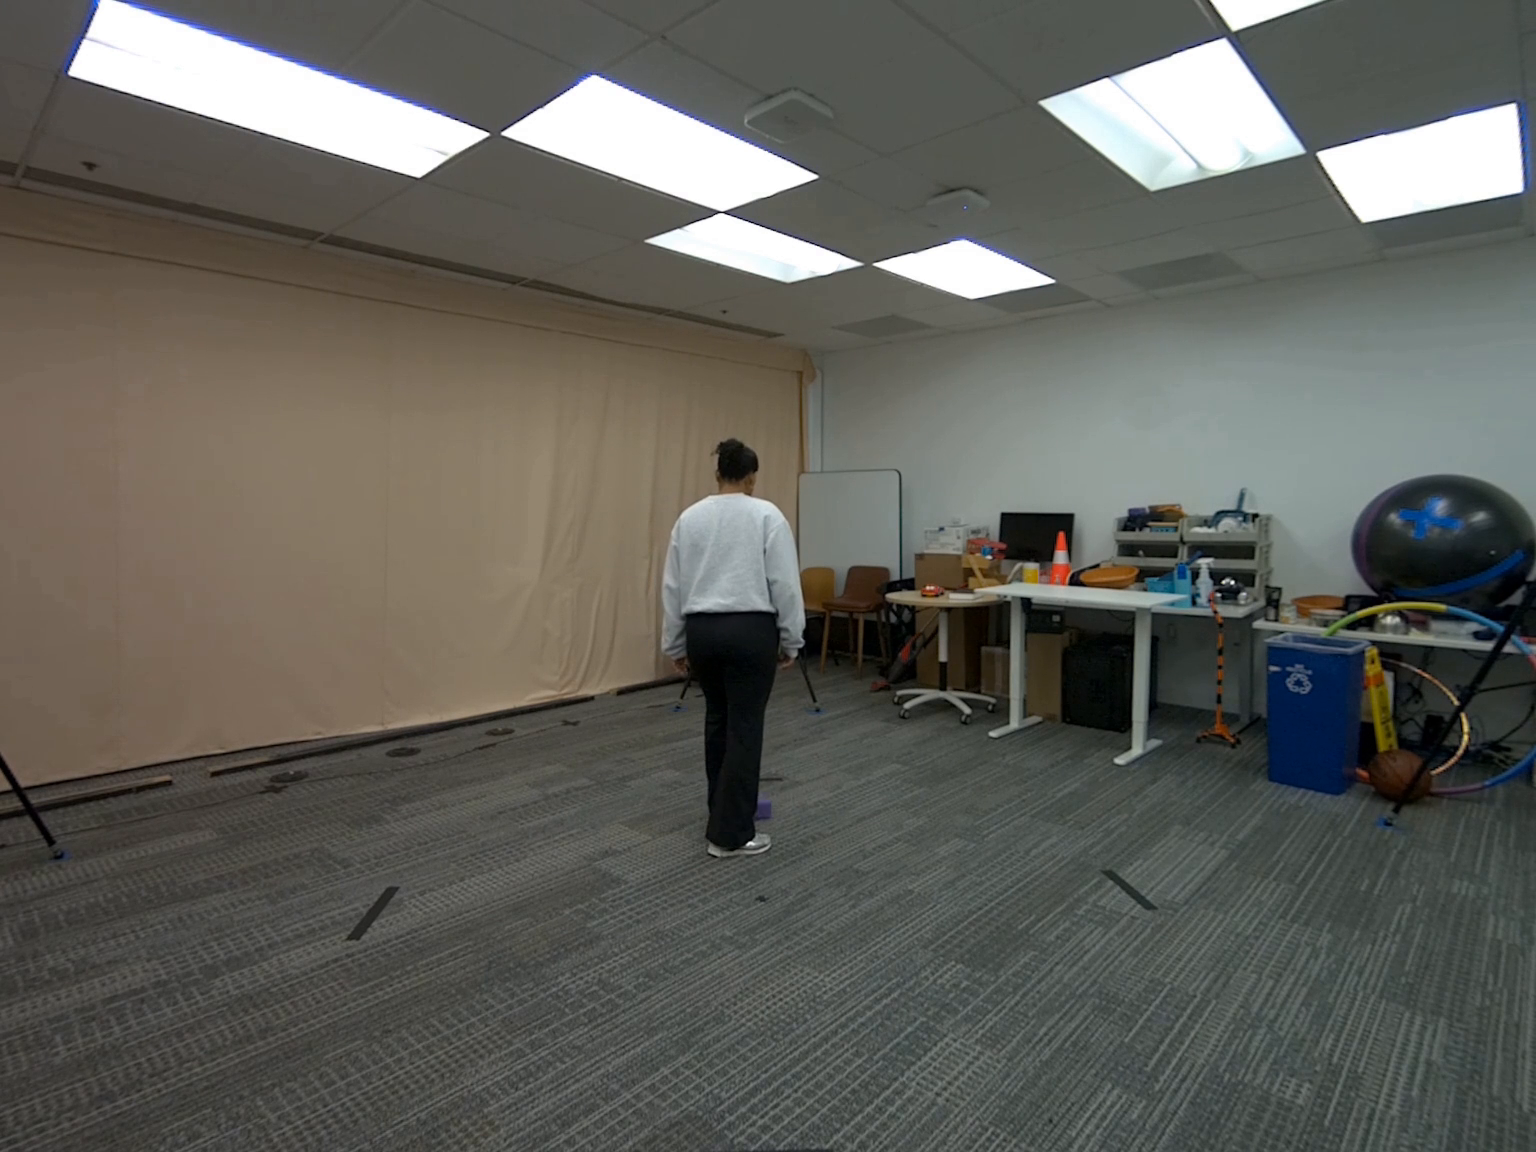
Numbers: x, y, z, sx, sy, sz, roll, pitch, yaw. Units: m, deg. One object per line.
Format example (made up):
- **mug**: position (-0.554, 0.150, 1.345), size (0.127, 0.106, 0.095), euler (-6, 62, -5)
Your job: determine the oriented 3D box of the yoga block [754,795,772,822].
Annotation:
- **yoga block**: position (-0.095, 1.031, 3.827), size (0.147, 0.076, 0.233), euler (-1, 4, -15)
